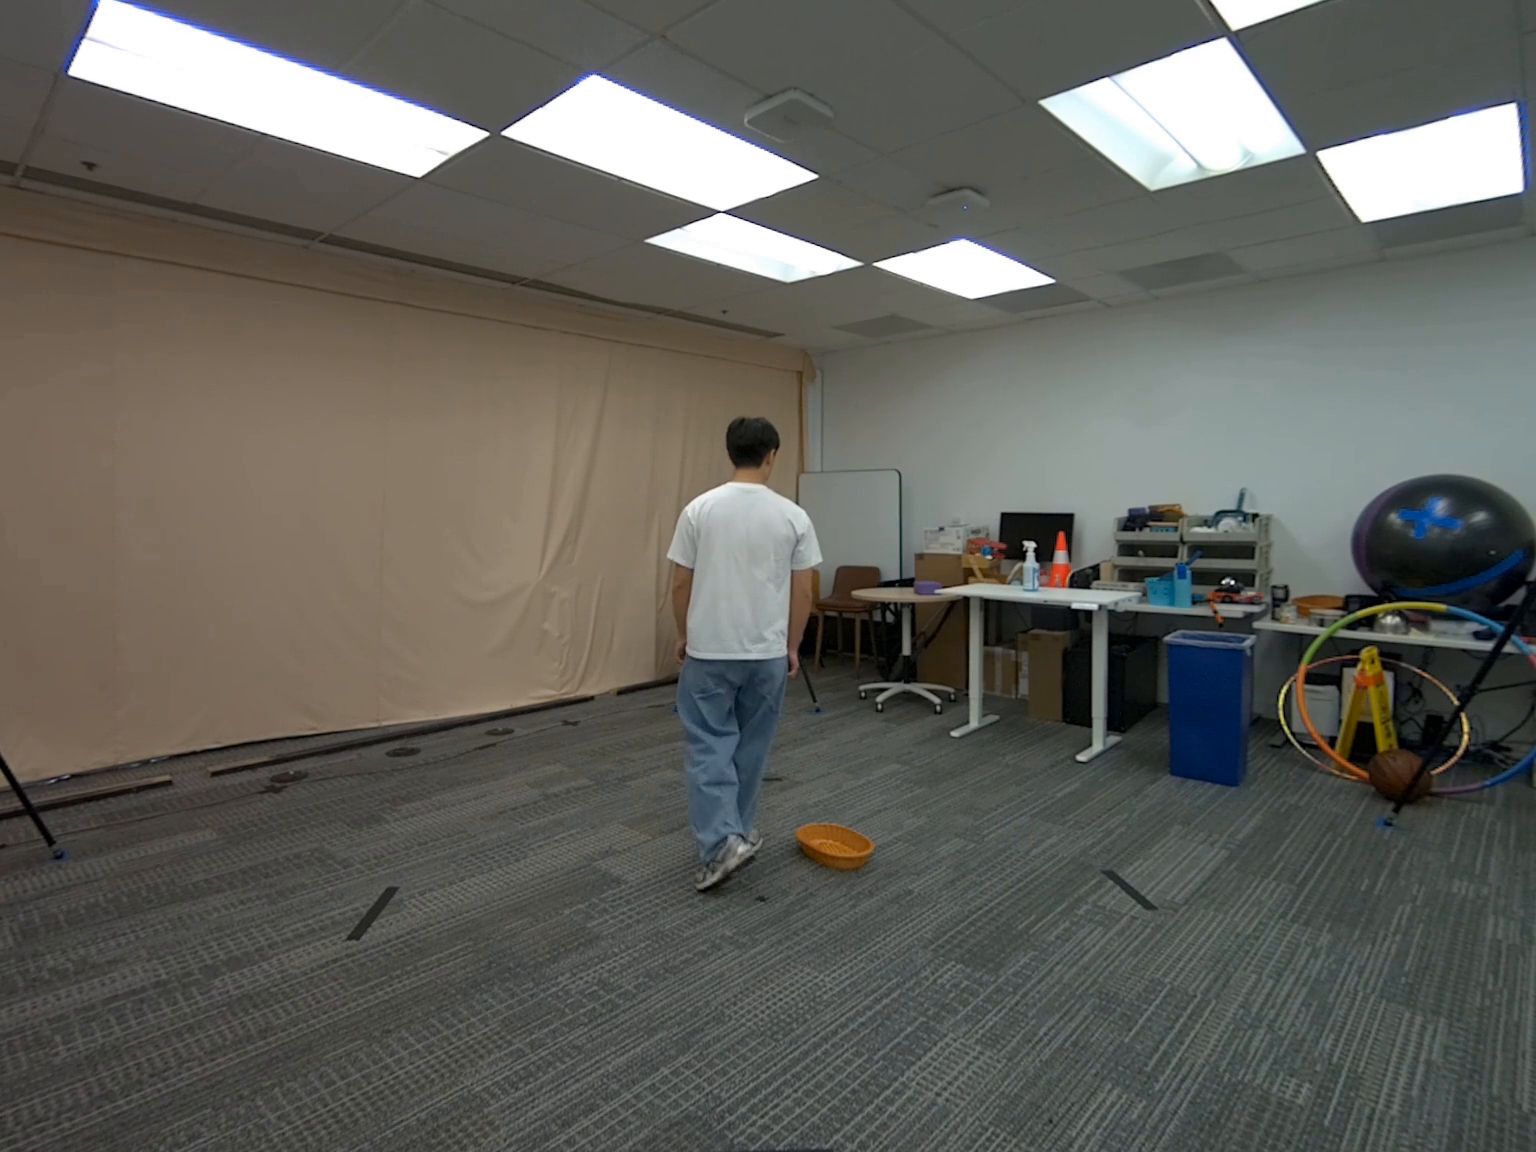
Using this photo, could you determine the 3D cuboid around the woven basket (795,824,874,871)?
[{"bbox_3d":[0.262,1.080,3.334,0.245,0.073,0.361,-3,6,-33],"label":"woven basket"}]
